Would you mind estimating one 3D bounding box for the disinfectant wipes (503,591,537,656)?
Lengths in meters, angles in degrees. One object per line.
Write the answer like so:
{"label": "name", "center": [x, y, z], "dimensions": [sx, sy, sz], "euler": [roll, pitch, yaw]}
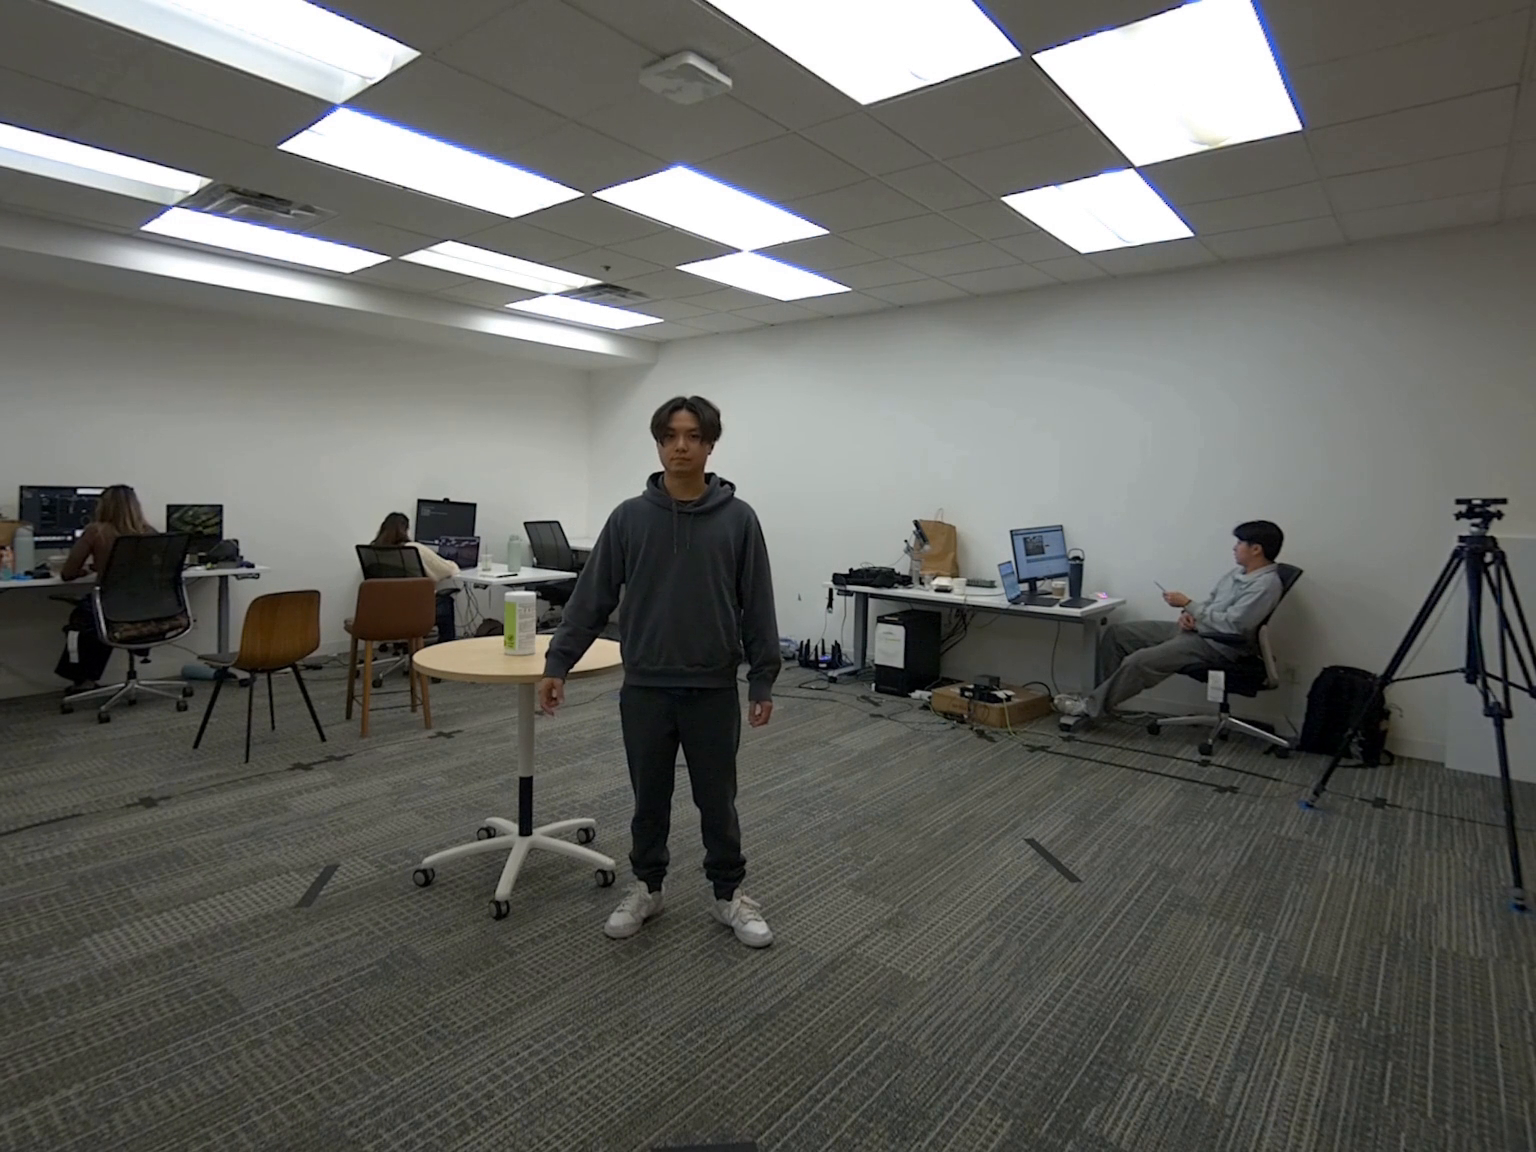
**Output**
{"label": "disinfectant wipes", "center": [-0.889, 0.164, 3.005], "dimensions": [0.117, 0.216, 0.118], "euler": [3, 5, -2]}
